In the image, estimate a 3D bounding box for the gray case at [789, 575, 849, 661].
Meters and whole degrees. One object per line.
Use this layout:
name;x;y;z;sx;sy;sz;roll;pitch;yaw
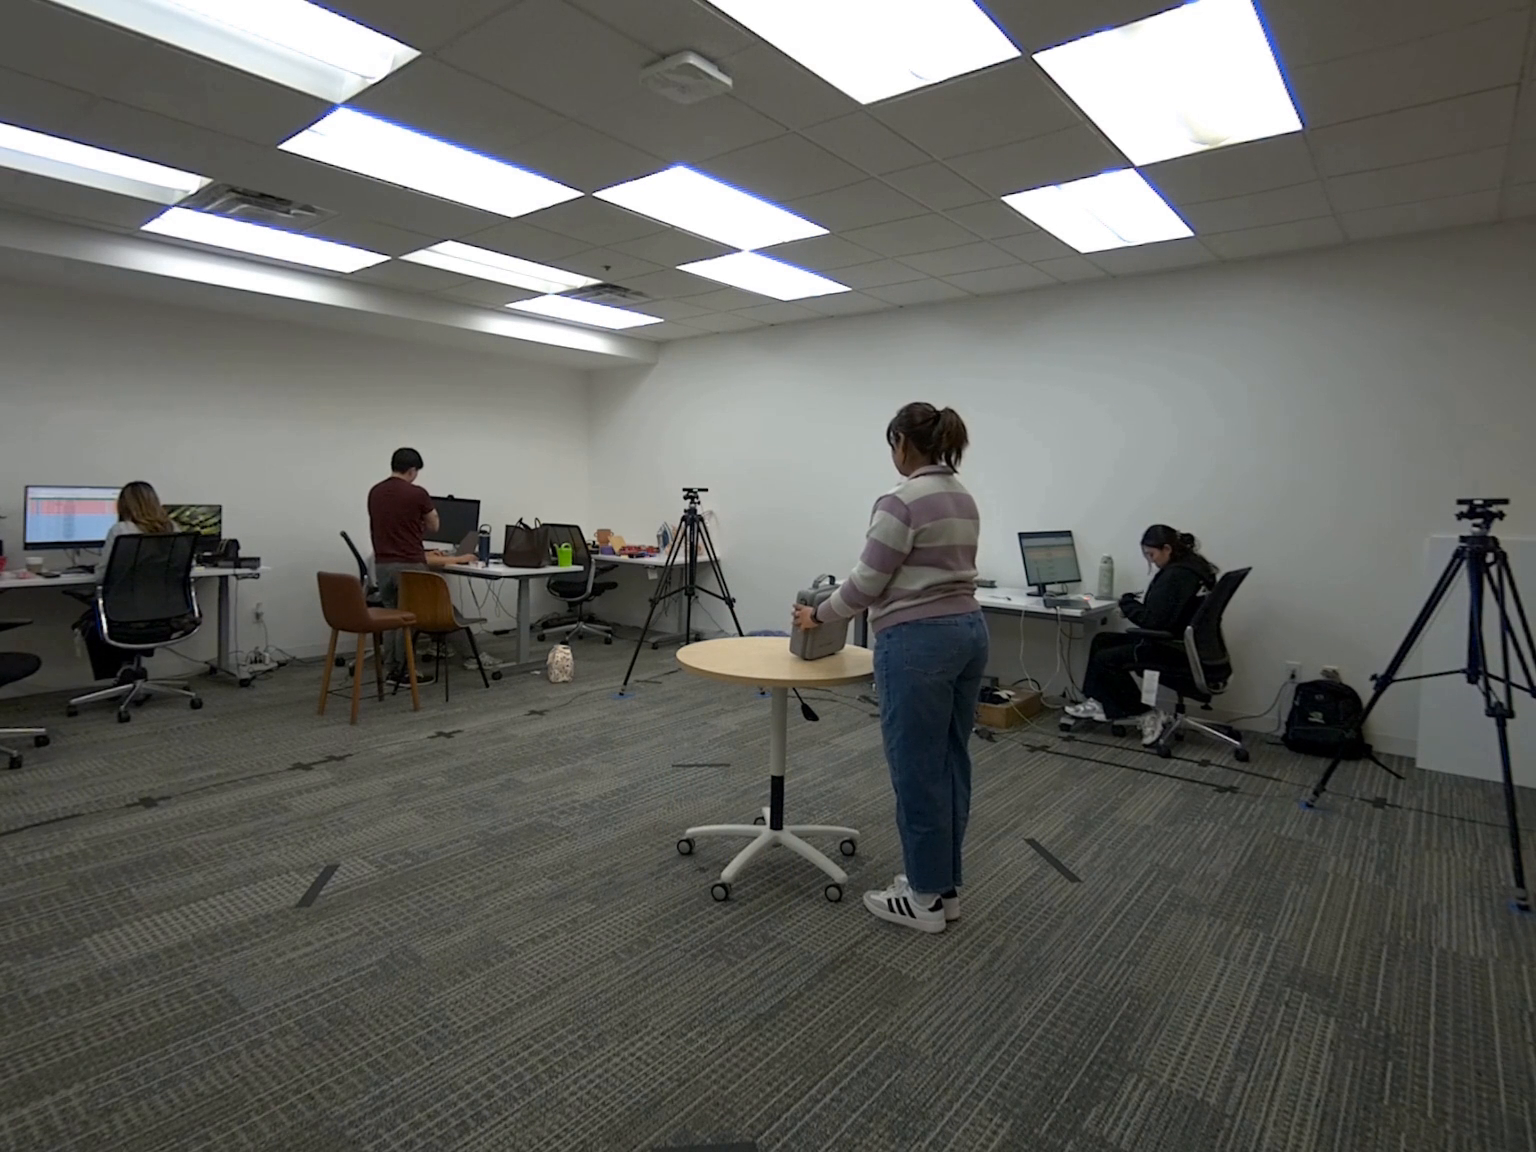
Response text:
gray case;0.185;0.158;3.117;0.108;0.258;0.249;13;12;39
